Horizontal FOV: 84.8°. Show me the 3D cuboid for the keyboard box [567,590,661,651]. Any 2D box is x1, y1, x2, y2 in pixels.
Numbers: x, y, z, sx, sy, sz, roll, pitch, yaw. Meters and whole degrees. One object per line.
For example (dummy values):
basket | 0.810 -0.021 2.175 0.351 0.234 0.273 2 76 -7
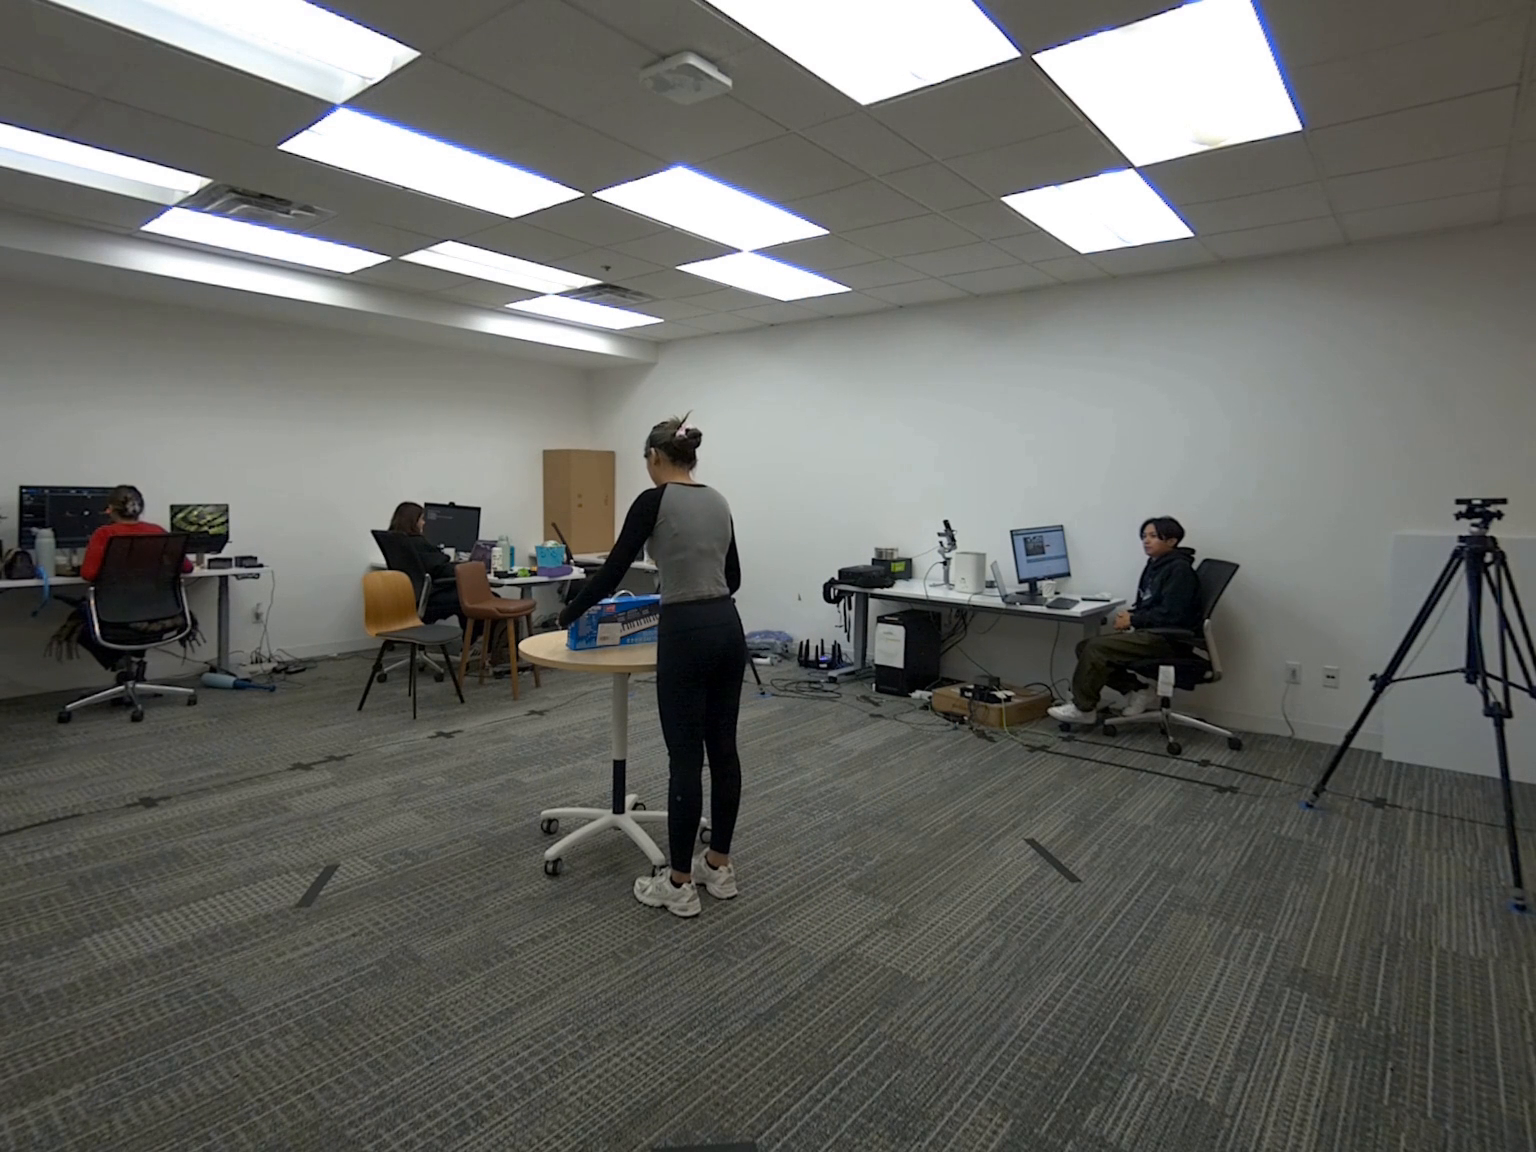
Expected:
keyboard box | -0.567 0.173 3.241 0.424 0.174 0.061 -4 13 -40
